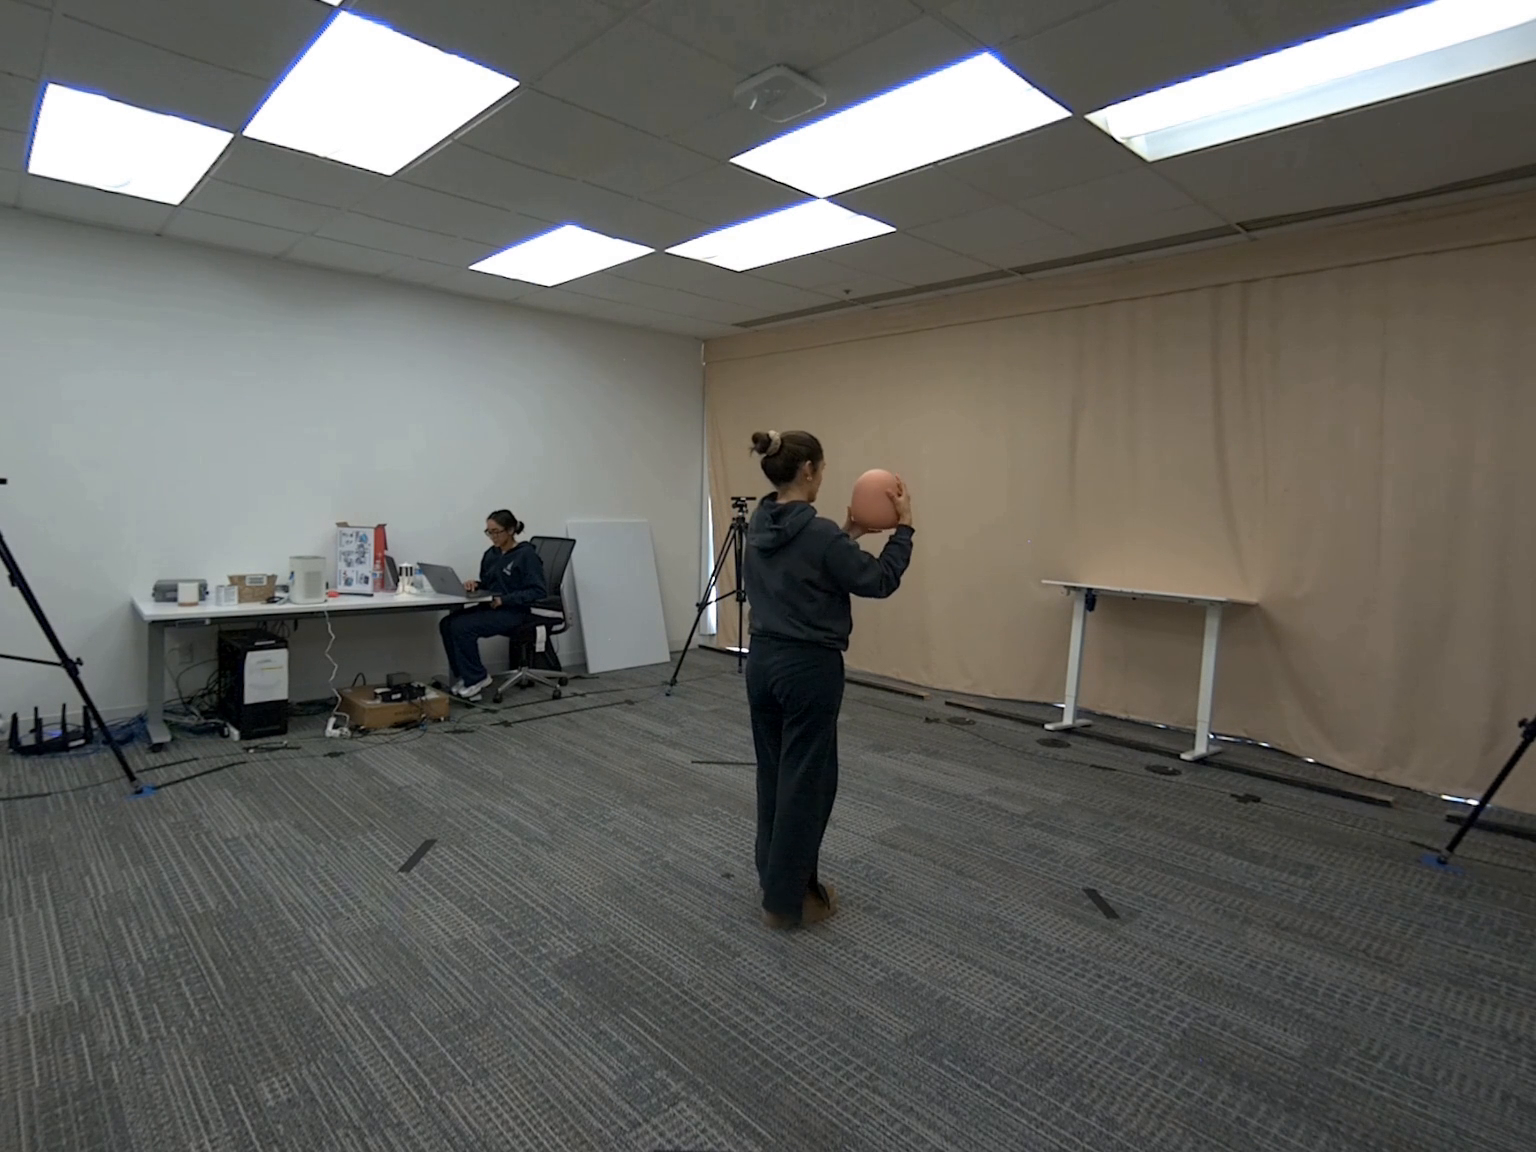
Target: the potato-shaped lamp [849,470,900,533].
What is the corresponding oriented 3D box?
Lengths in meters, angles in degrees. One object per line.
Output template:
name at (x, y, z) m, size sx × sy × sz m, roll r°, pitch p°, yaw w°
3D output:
potato-shaped lamp at (0.356, -0.259, 2.820) m, size 0.162 × 0.195 × 0.177 m, roll -17°, pitch 35°, yaw -38°
